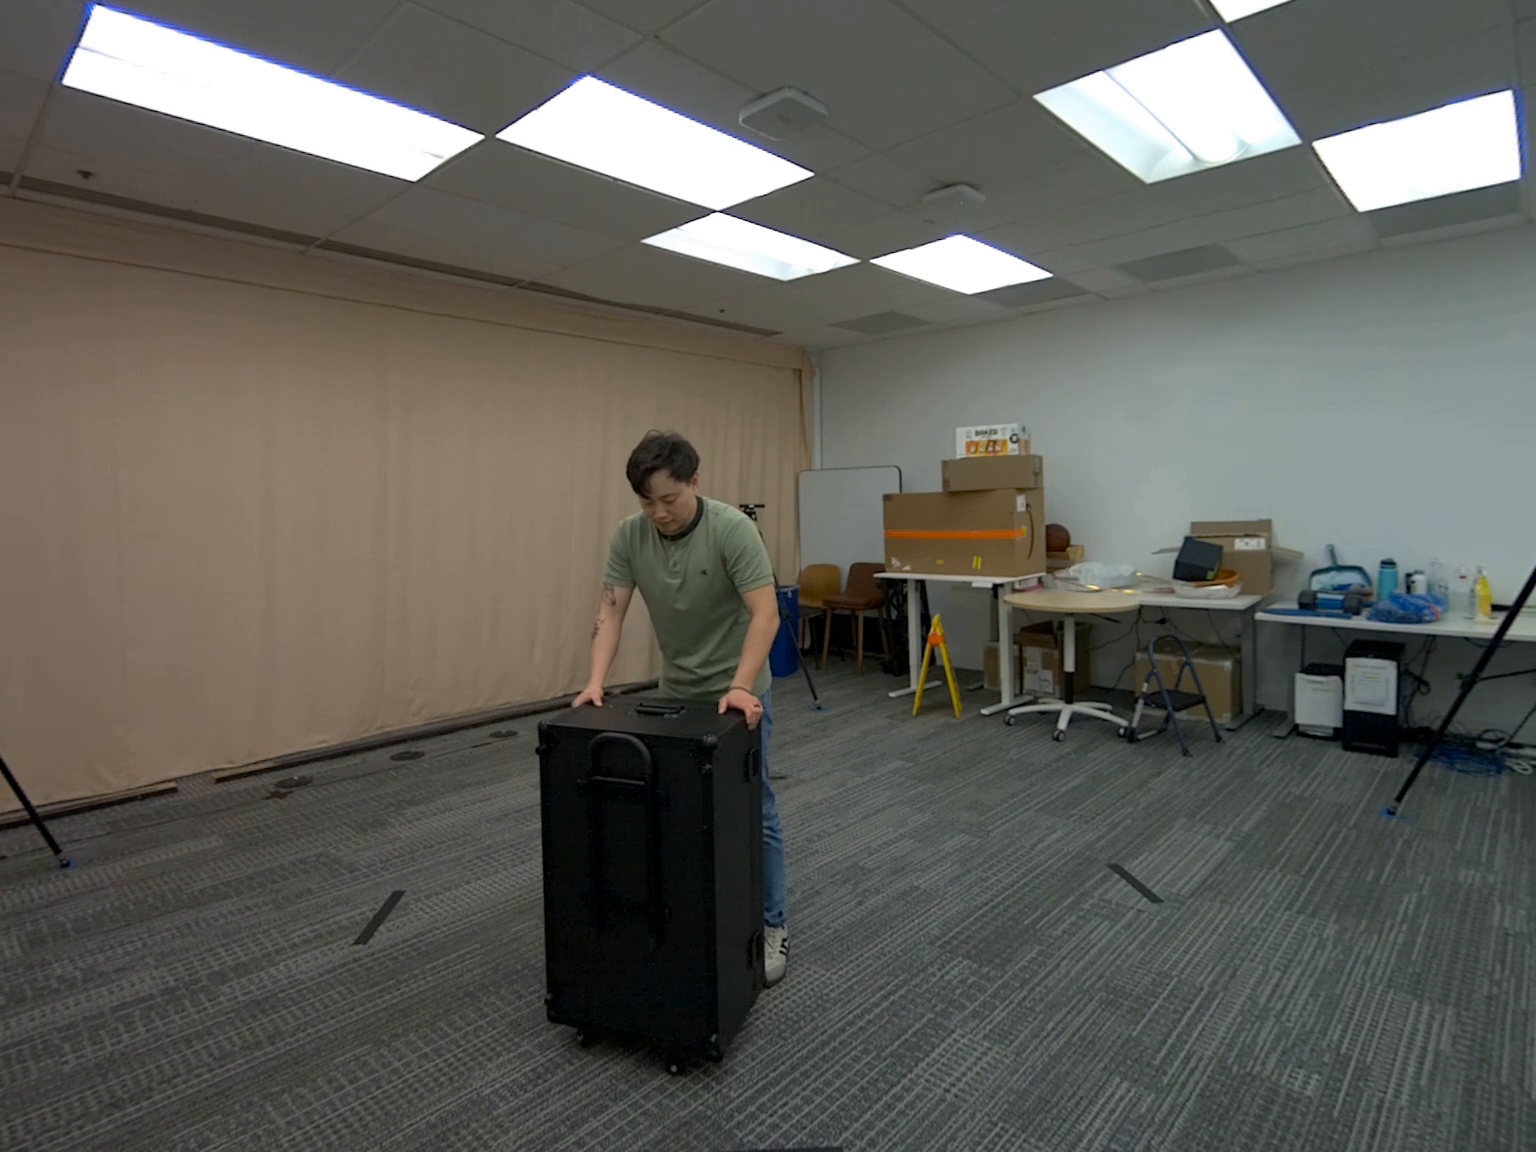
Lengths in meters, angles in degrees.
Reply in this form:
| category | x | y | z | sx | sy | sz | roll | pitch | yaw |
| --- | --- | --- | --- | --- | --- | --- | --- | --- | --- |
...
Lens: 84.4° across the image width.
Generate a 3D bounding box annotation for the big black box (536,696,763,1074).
| category | x | y | z | sx | sy | sz | roll | pitch | yaw |
| --- | --- | --- | --- | --- | --- | --- | --- | --- | --- |
| big black box | -0.295 | 0.787 | 2.218 | 0.534 | 0.859 | 0.388 | 0 | 4 | 23 |
